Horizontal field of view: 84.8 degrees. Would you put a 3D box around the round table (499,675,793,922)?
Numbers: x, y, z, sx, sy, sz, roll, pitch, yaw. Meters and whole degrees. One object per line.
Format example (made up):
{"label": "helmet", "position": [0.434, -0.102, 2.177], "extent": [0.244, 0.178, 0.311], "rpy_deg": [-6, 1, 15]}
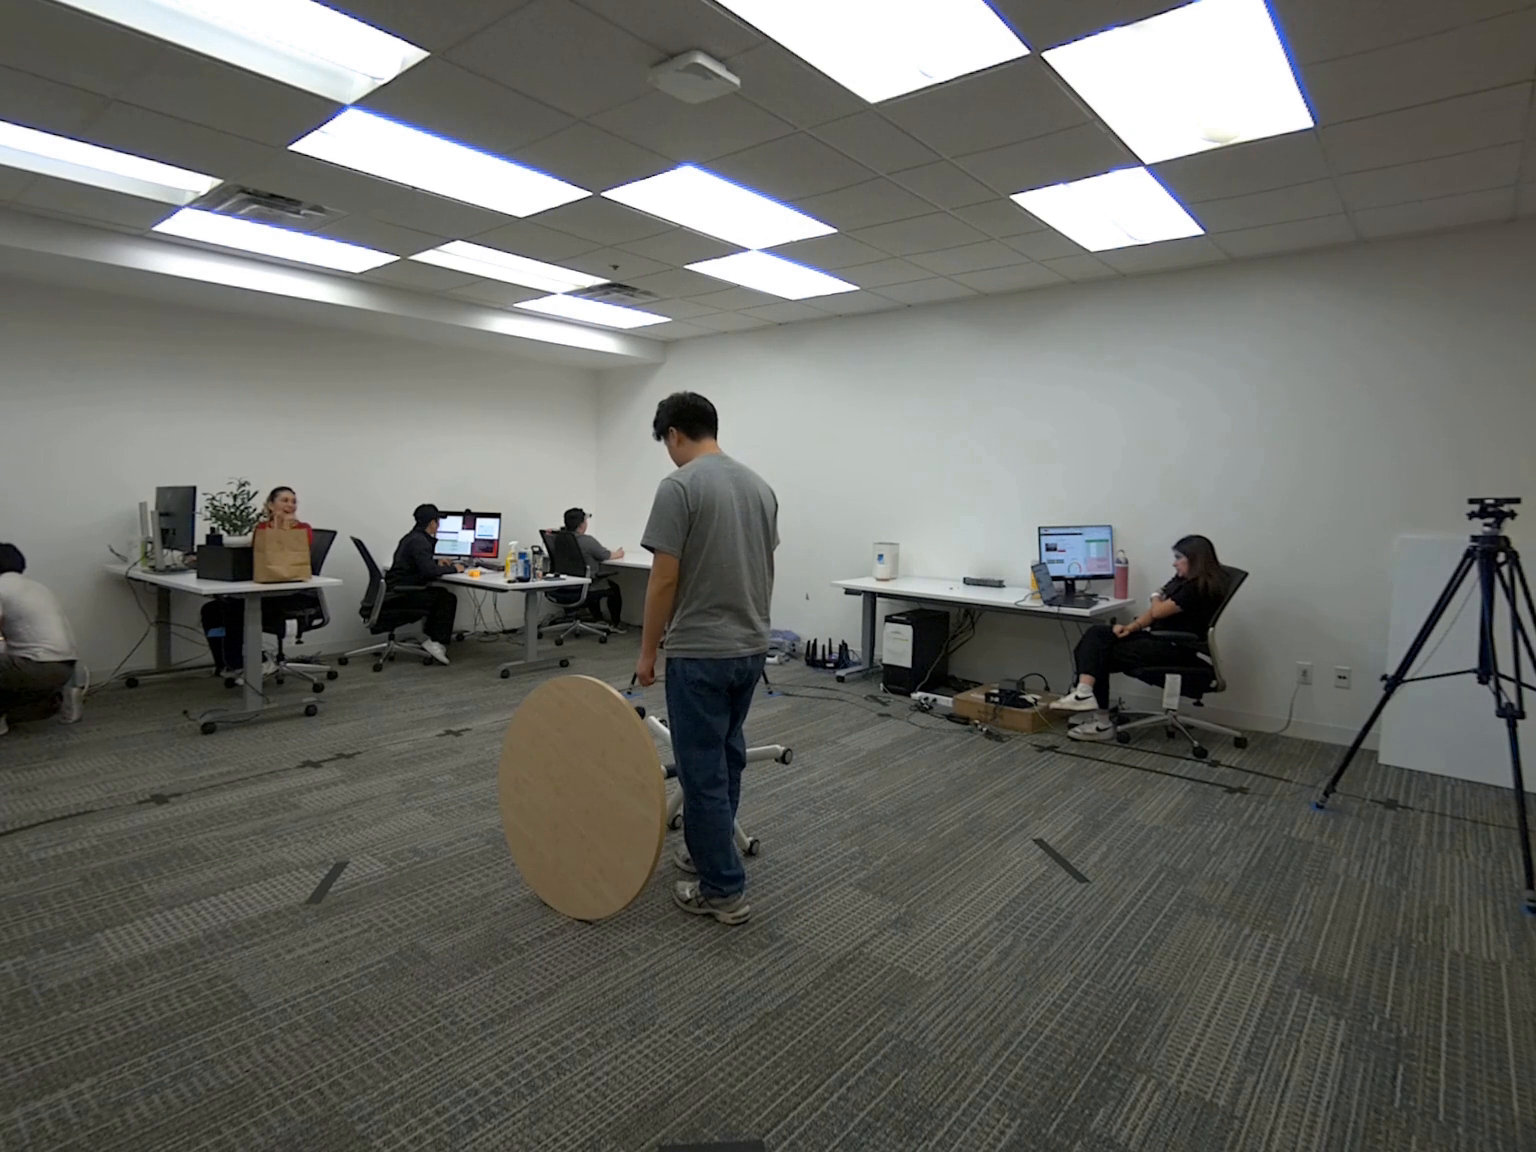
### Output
{"label": "round table", "position": [-0.430, 0.725, 3.083], "extent": [0.789, 0.765, 0.768], "rpy_deg": [4, -1, 36]}
